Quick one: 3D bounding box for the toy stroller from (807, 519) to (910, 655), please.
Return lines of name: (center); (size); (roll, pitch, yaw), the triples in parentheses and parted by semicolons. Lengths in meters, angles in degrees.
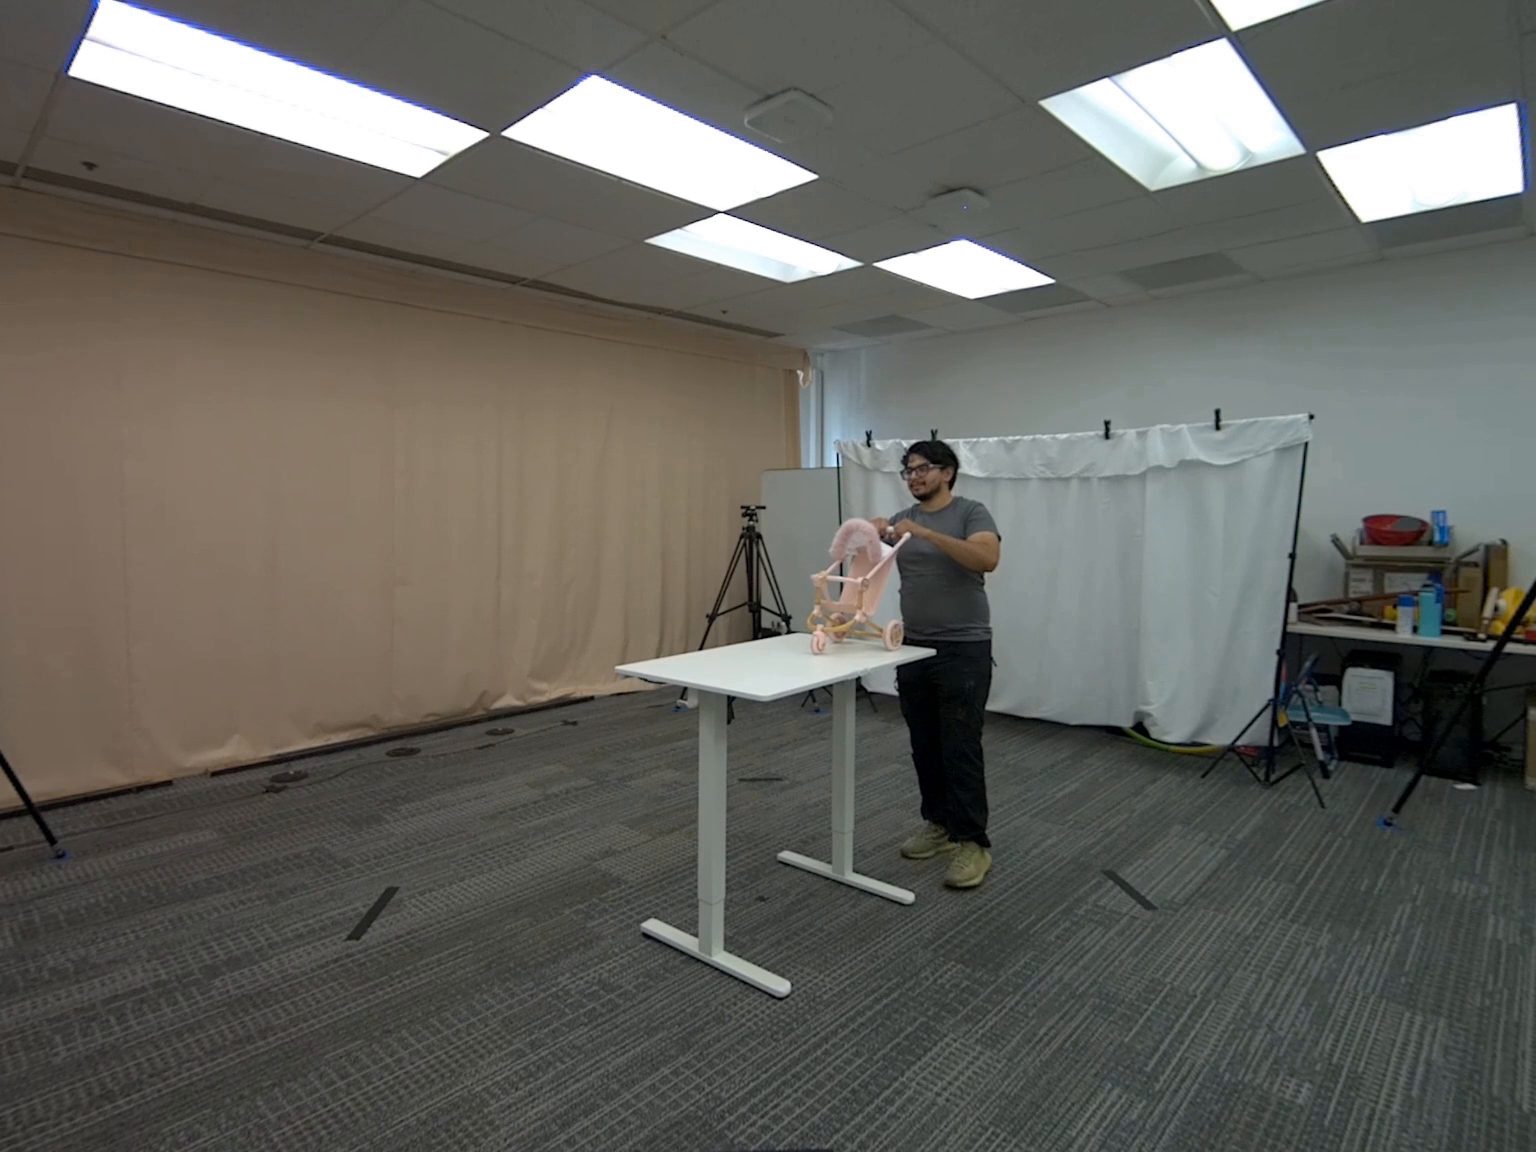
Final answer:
toy stroller: (0.311, 0.034, 3.002); (0.329, 0.536, 0.291); (18, -10, -41)
